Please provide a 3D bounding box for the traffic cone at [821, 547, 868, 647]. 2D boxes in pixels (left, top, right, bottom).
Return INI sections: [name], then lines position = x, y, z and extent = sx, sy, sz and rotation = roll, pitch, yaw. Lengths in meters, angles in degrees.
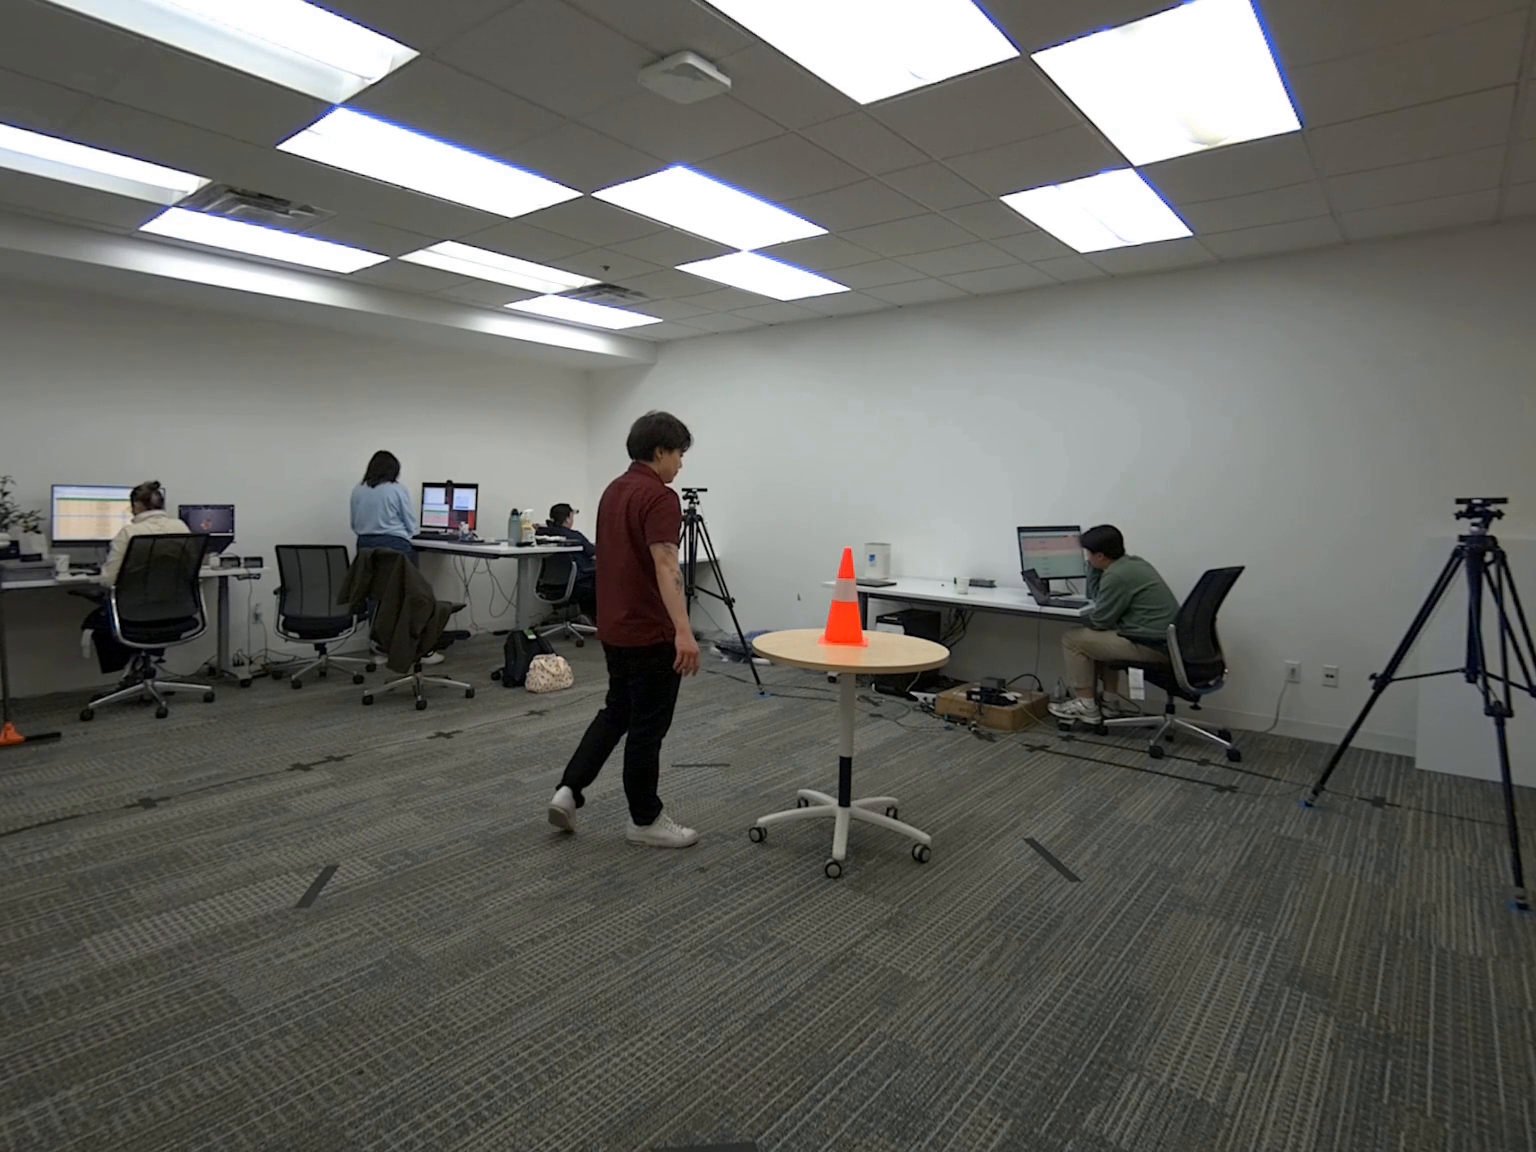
[traffic cone]
position = 0.311, 0.077, 3.445
extent = 0.206, 0.382, 0.203
rotation = 3, 5, 3
